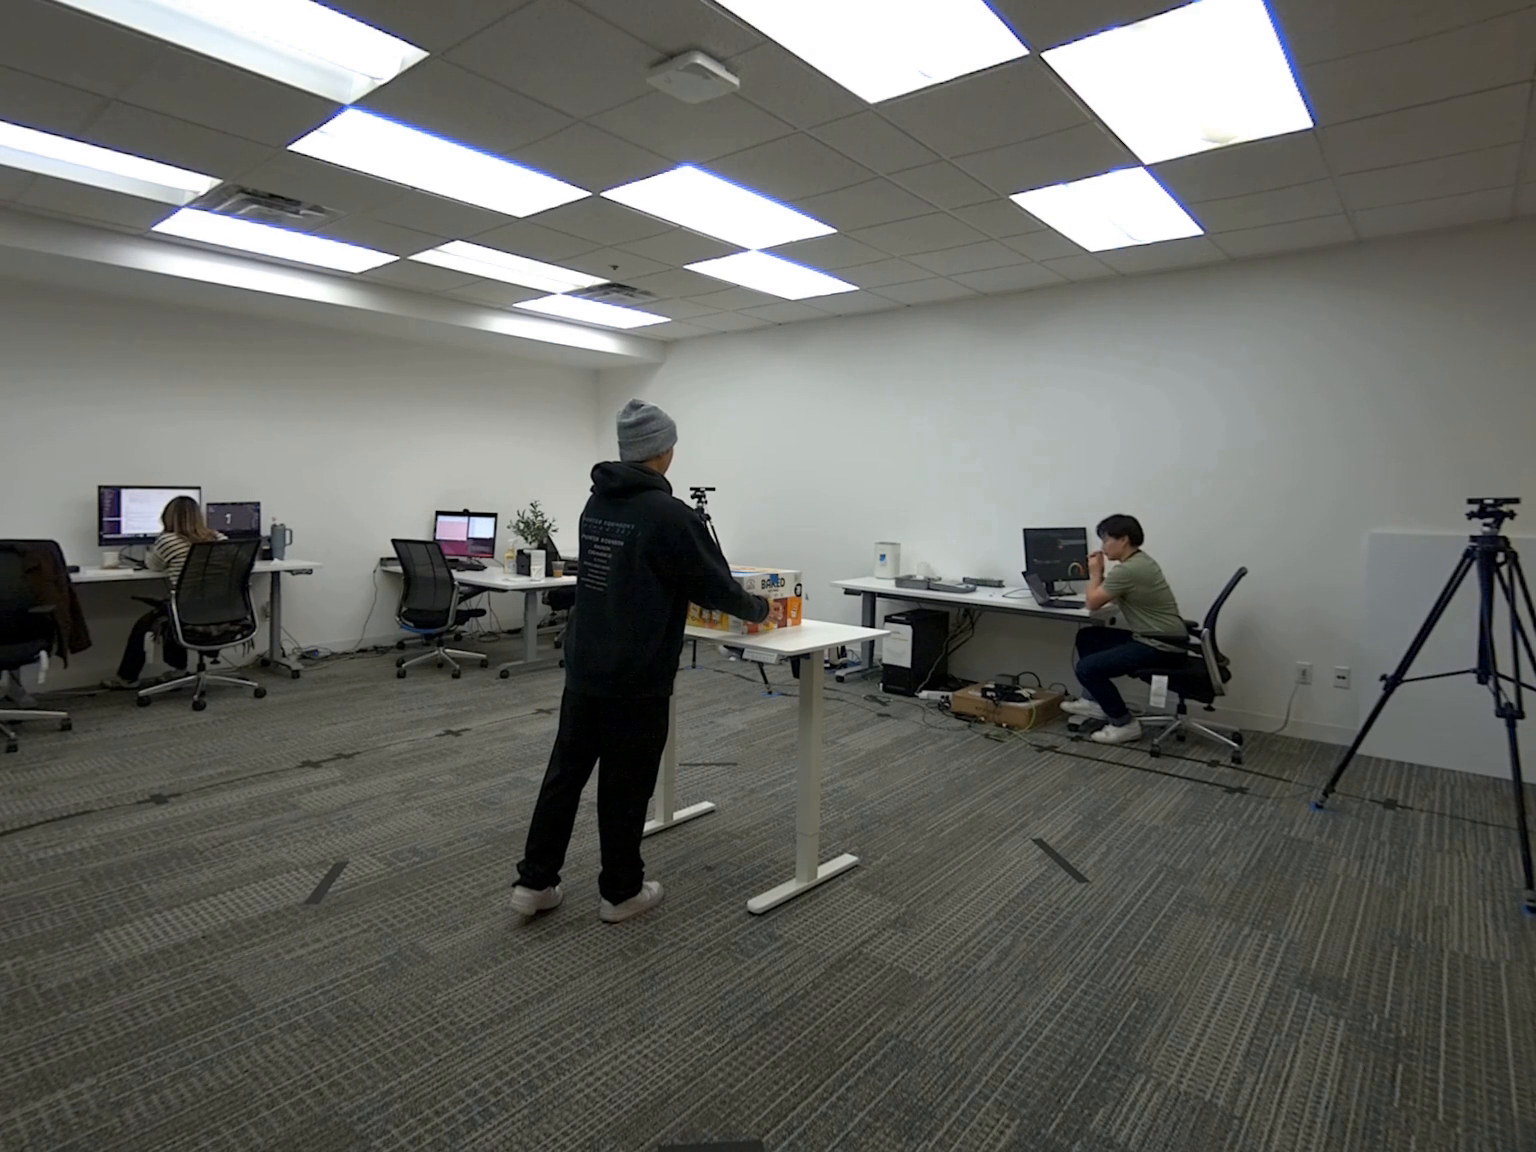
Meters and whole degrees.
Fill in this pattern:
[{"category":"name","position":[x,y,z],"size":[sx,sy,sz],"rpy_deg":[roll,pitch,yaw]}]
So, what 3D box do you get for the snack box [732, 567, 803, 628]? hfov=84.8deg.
[{"category":"snack box","position":[-0.143,0.074,3.210],"size":[0.419,0.205,0.330],"rpy_deg":[5,6,40]}]
